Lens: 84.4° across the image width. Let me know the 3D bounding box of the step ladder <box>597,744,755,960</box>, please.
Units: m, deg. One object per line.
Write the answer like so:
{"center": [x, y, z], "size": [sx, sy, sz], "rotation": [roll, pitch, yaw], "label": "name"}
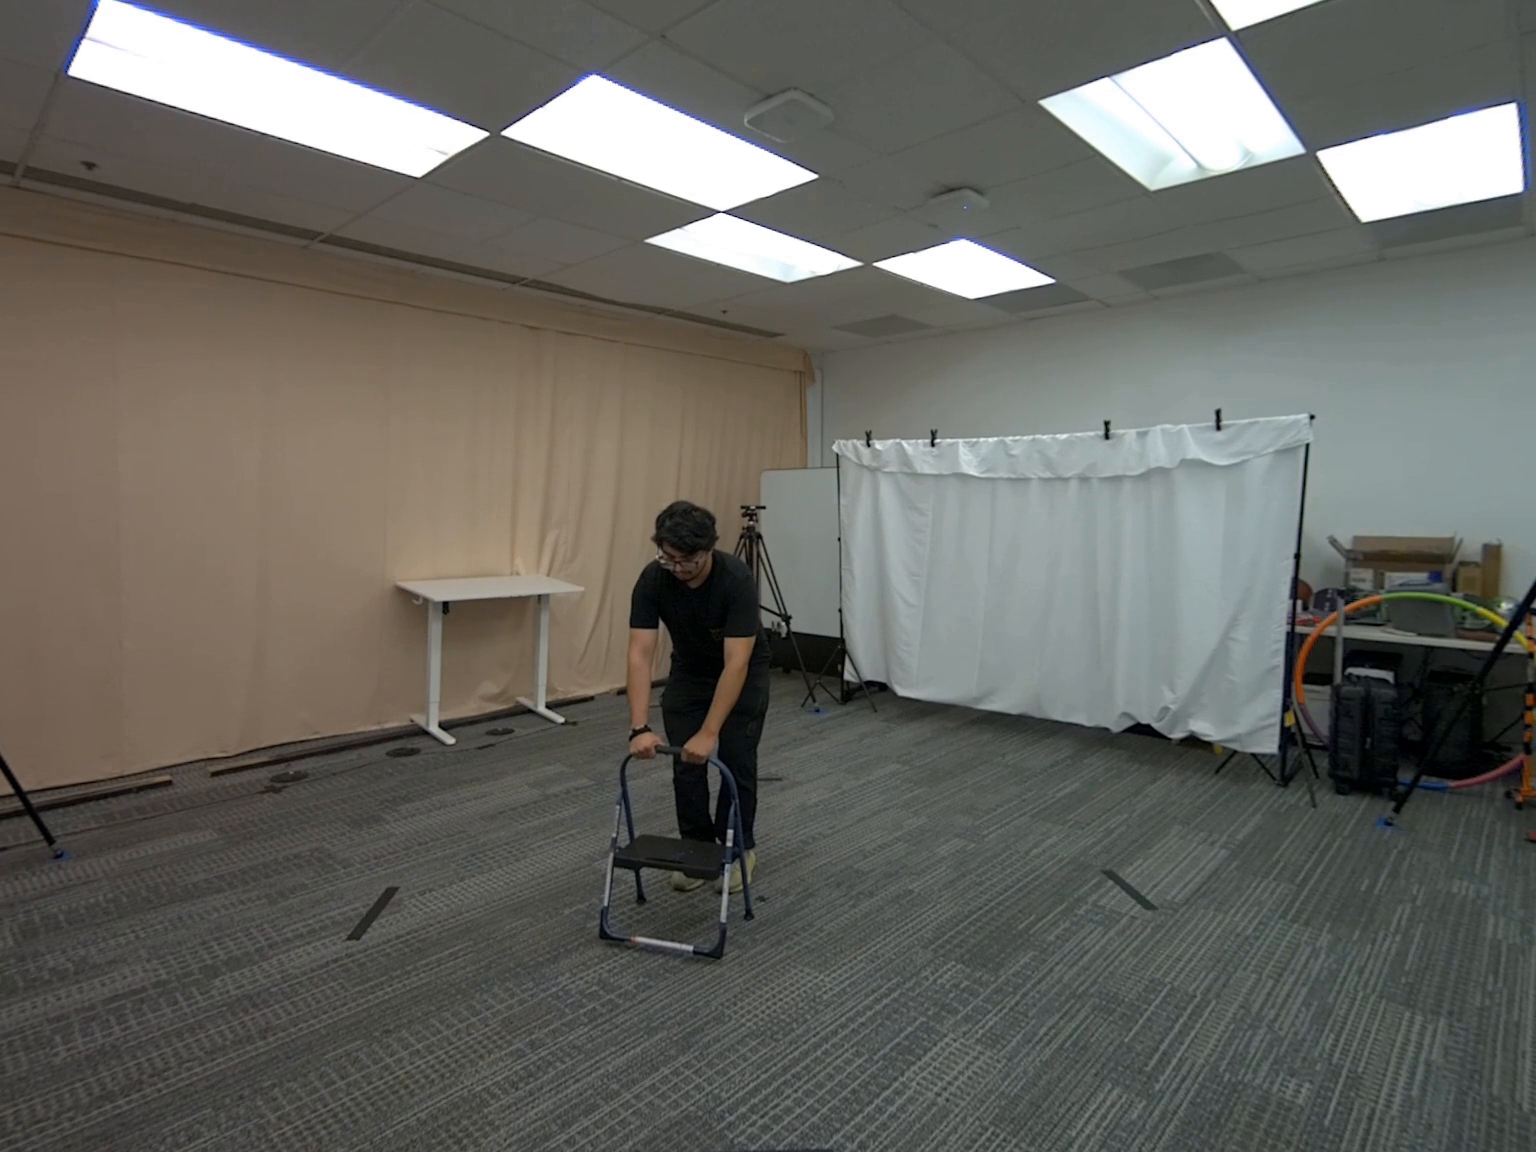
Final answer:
{"center": [-0.295, 0.853, 2.764], "size": [0.439, 0.606, 0.342], "rotation": [1, 0, 17], "label": "step ladder"}
